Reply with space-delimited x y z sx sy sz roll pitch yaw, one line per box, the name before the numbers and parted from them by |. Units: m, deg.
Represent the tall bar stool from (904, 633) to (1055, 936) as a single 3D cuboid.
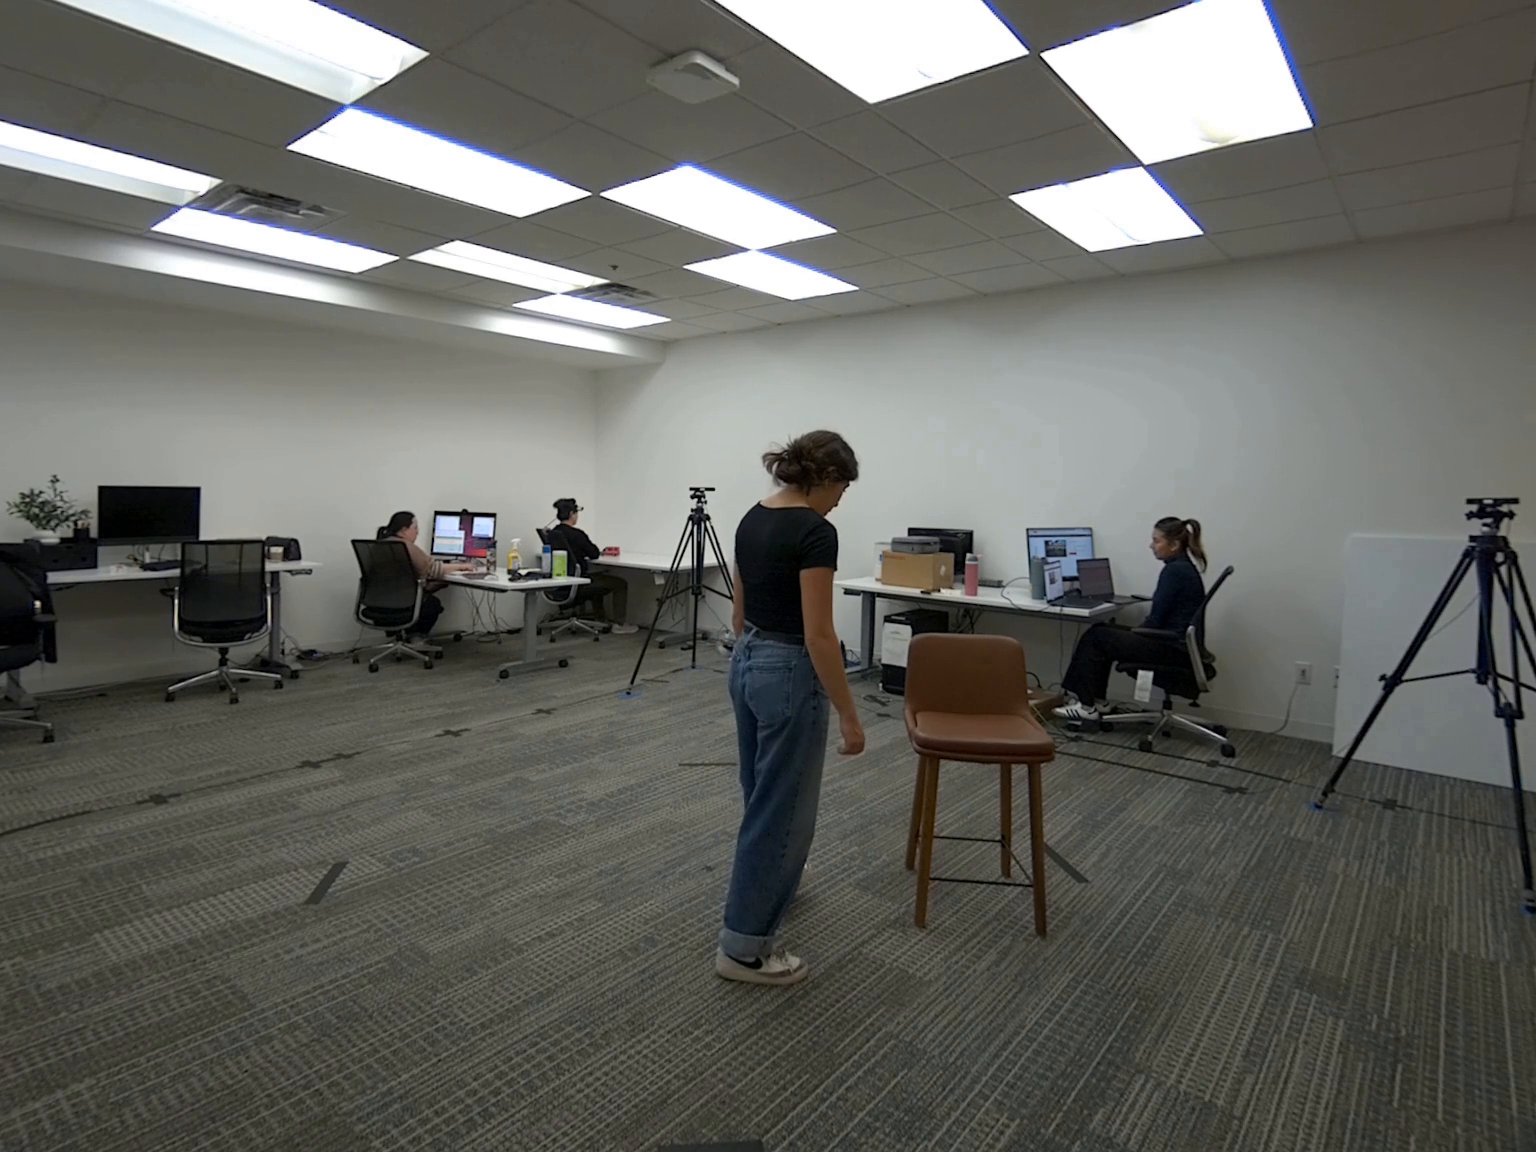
tall bar stool | 0.695 0.670 2.906 0.460 0.889 0.465 2 2 6
